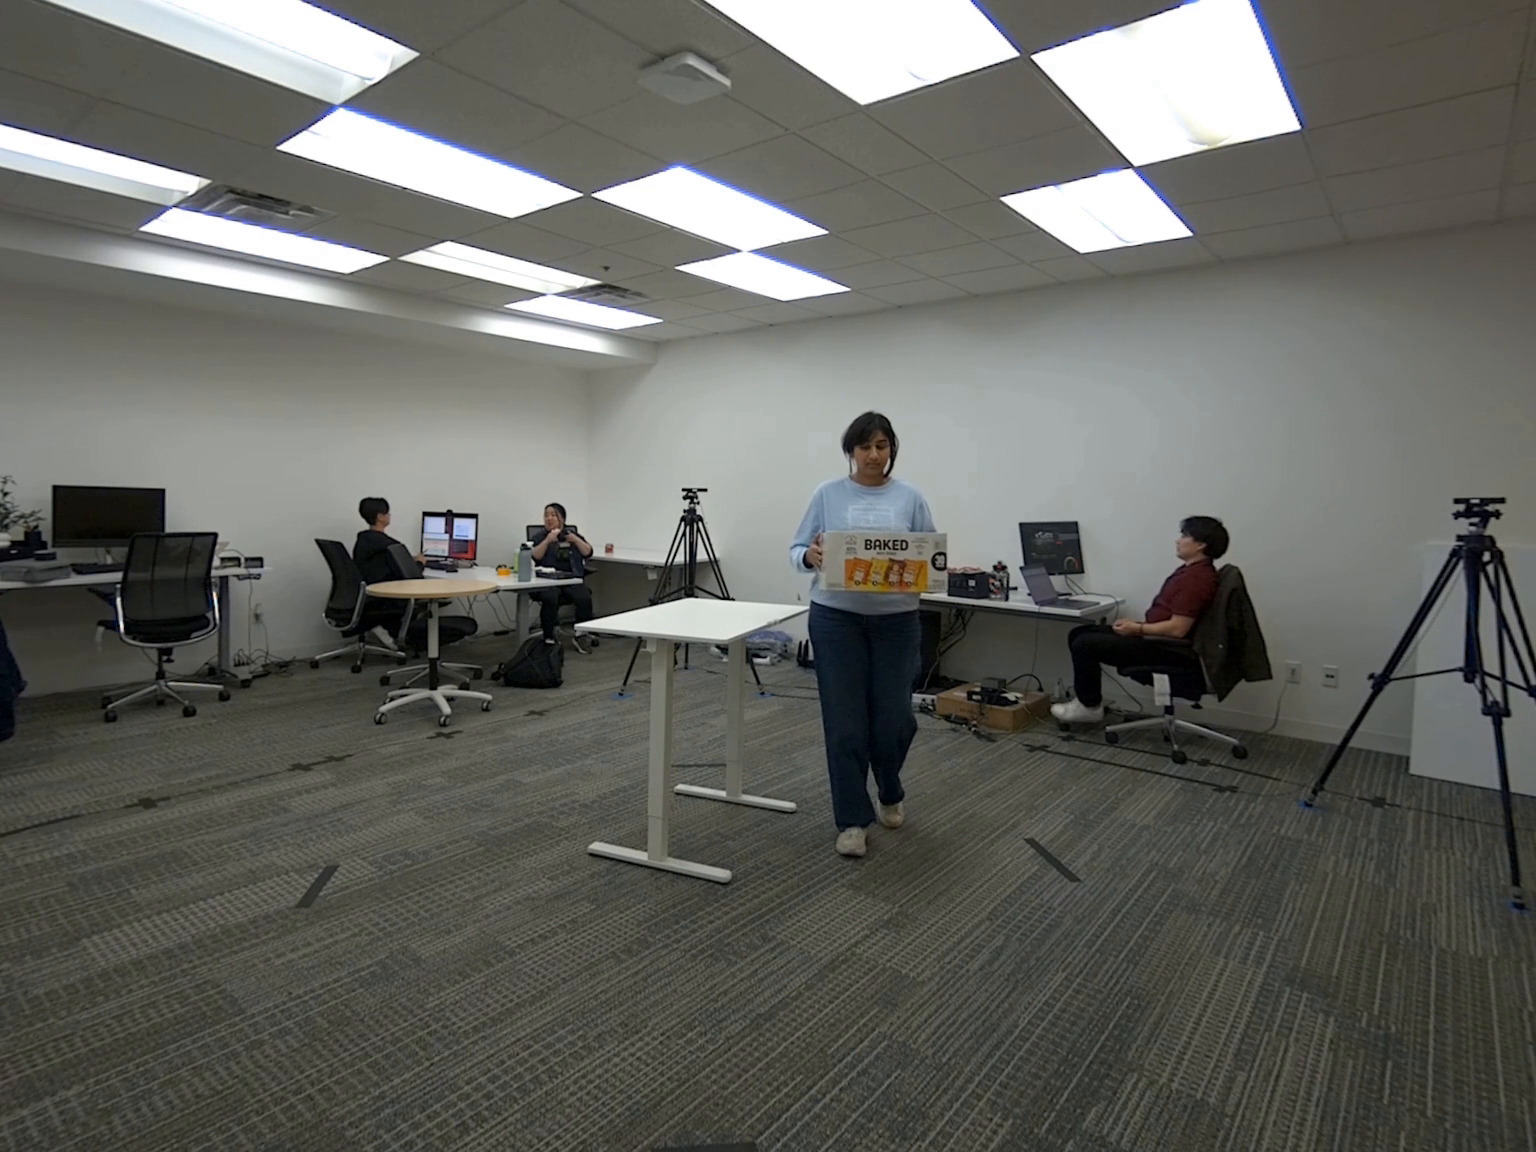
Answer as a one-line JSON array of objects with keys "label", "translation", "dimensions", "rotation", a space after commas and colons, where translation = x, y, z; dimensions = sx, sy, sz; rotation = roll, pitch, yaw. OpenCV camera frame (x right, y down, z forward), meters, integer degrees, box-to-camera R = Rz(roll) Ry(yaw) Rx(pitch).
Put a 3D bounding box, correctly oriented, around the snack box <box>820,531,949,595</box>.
[{"label": "snack box", "translation": [0.391, -0.052, 3.017], "dimensions": [0.406, 0.206, 0.339], "rotation": [1, -1, 1]}]
